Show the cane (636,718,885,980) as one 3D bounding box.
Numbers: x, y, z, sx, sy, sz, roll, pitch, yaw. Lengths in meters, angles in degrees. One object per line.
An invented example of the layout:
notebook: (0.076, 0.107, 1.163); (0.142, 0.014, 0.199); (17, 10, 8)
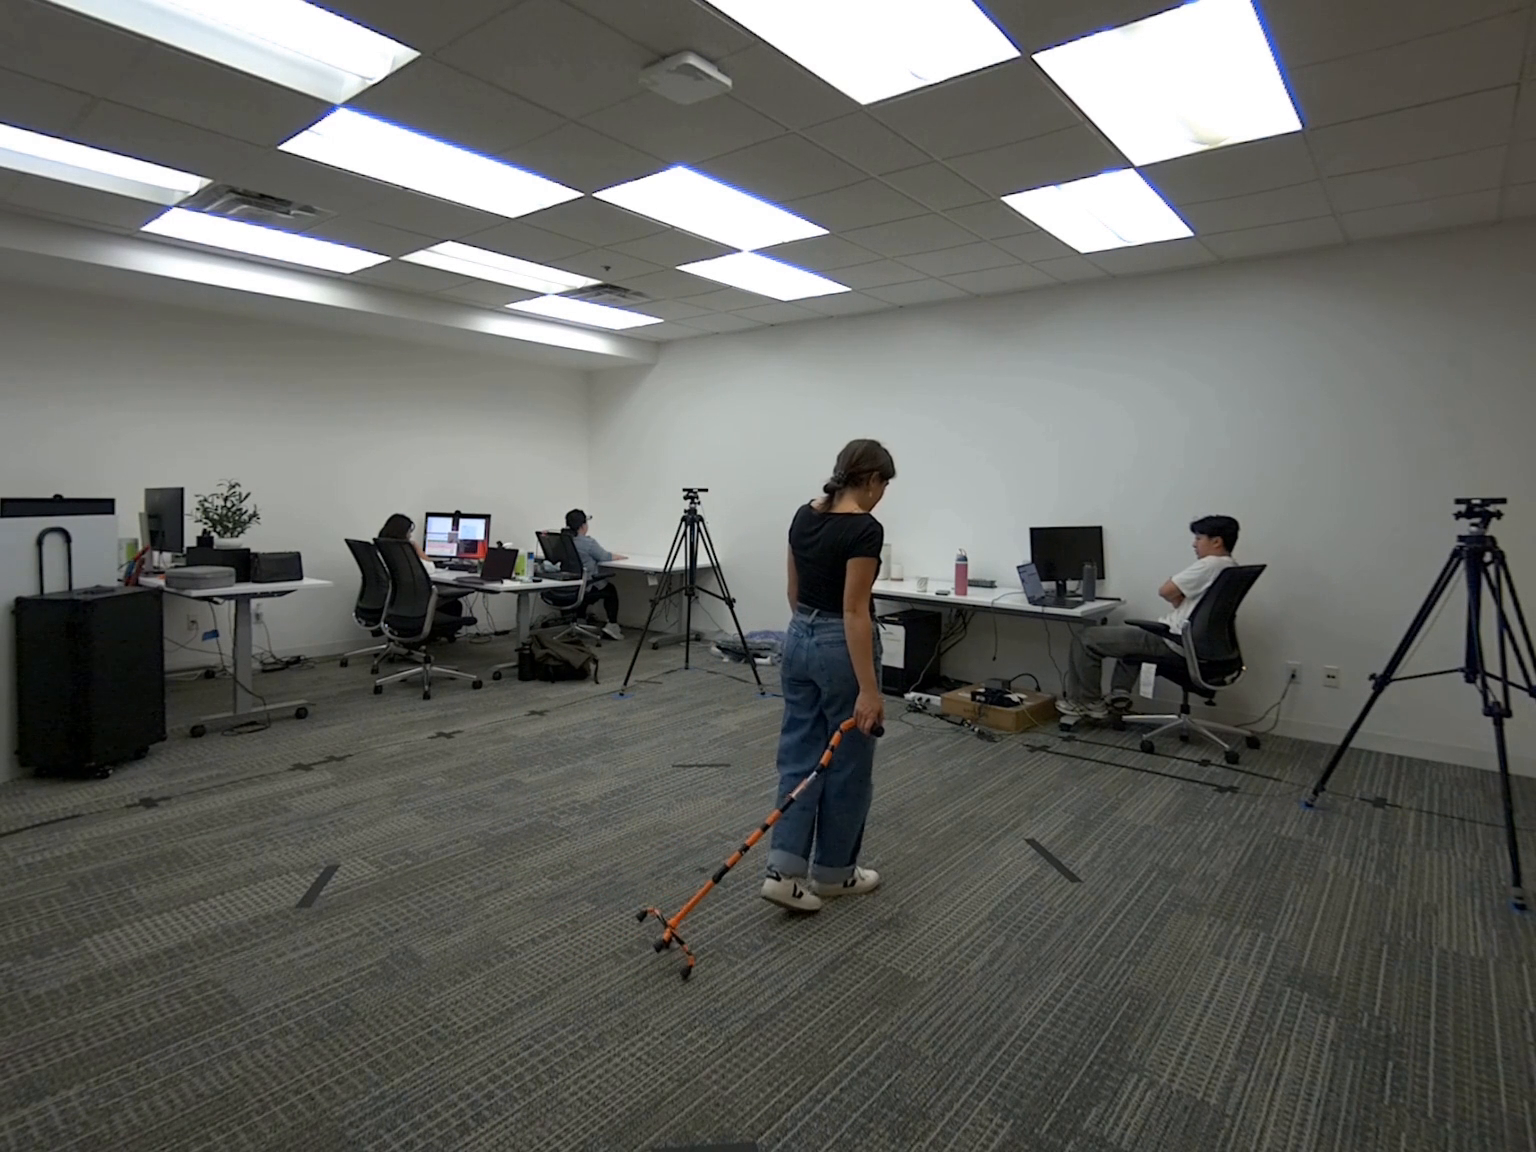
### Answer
cane: (-0.004, 0.765, 2.566); (0.907, 0.148, 0.212); (-44, 19, -12)
